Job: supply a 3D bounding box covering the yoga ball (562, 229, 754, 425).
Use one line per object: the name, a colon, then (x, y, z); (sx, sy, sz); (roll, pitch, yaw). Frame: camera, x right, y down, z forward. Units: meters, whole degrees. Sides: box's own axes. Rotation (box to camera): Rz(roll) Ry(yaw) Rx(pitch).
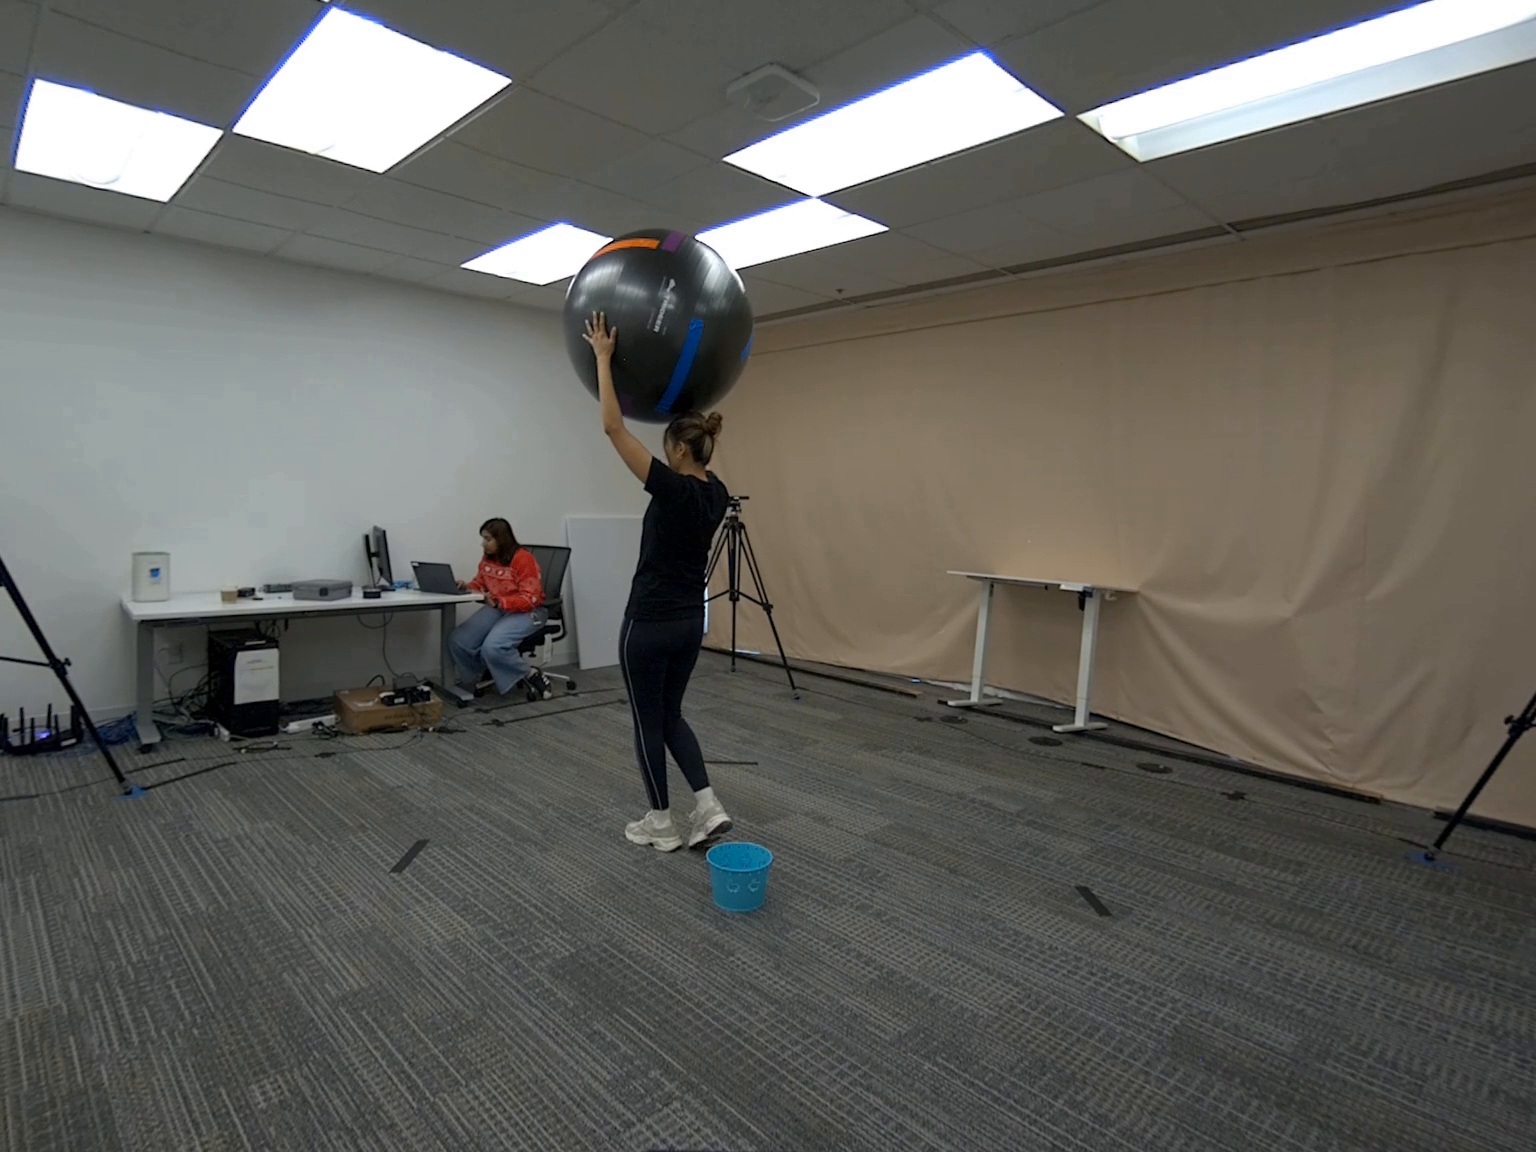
yoga ball: (-0.442, -0.989, 3.379); (0.757, 0.756, 0.761); (1, 4, -1)
